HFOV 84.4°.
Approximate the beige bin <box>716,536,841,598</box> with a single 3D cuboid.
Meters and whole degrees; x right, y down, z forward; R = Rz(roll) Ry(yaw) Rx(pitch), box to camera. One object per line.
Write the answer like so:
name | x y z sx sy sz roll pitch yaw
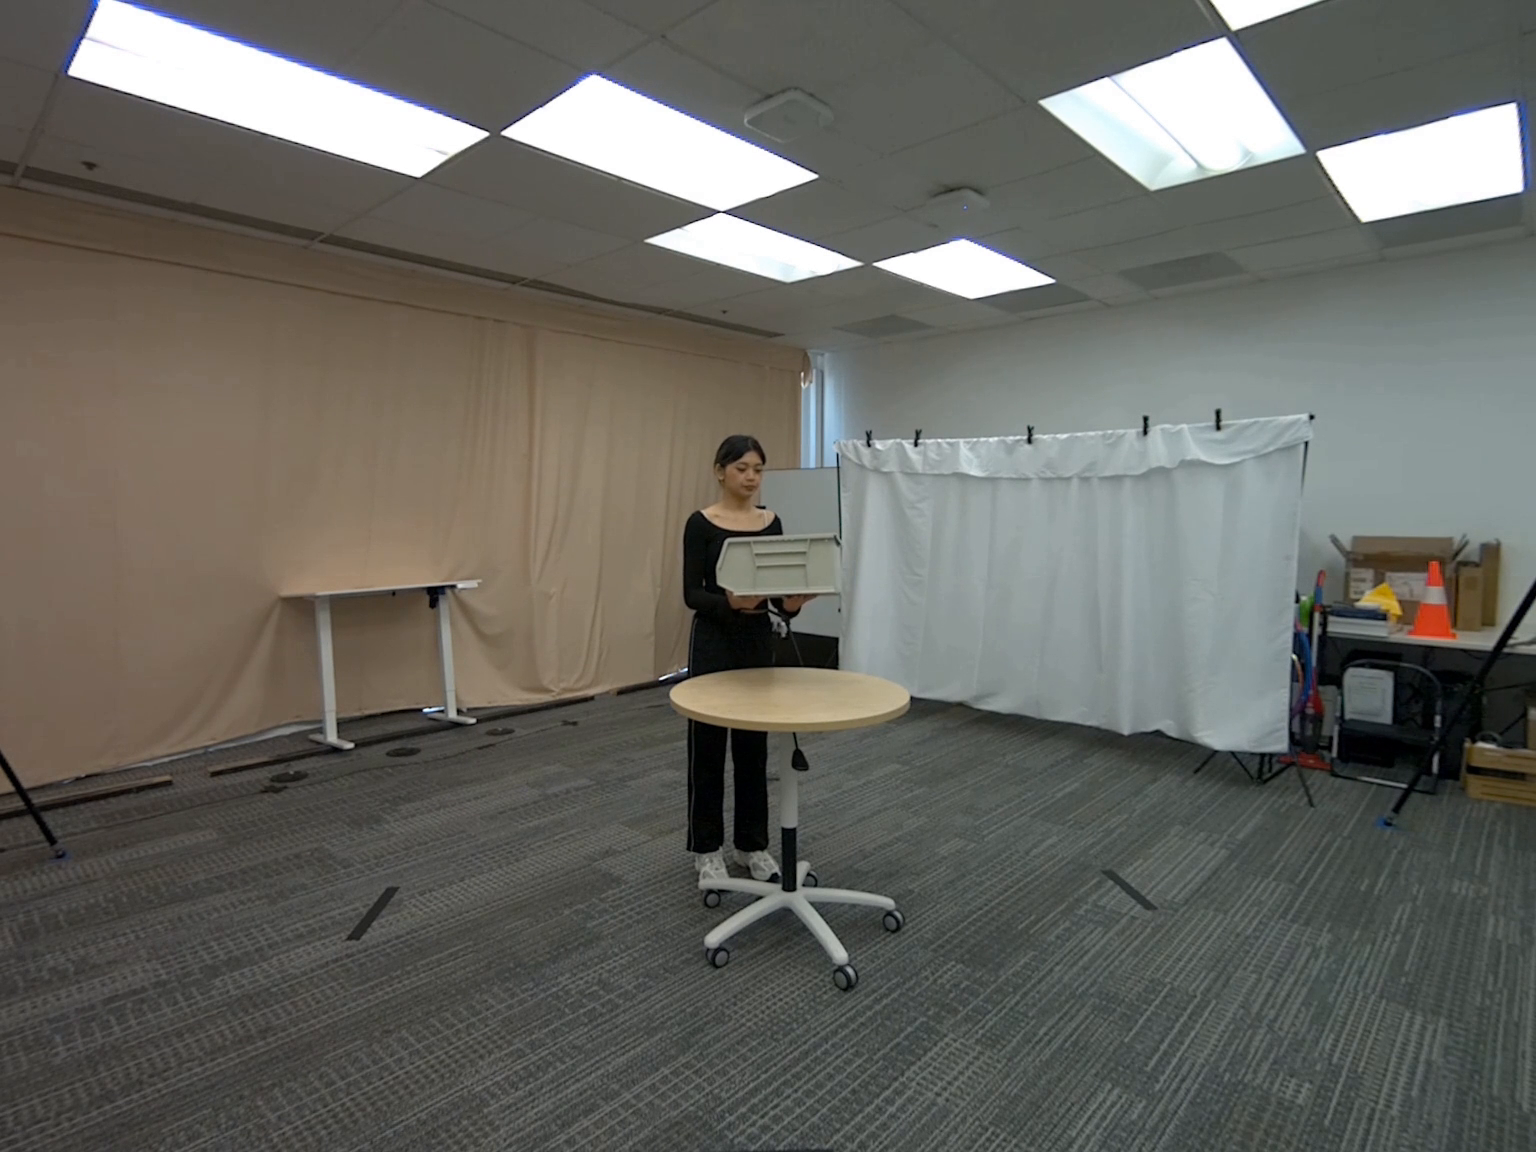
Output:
beige bin | 0.047 -0.019 2.791 0.381 0.190 0.417 -1 -5 8
